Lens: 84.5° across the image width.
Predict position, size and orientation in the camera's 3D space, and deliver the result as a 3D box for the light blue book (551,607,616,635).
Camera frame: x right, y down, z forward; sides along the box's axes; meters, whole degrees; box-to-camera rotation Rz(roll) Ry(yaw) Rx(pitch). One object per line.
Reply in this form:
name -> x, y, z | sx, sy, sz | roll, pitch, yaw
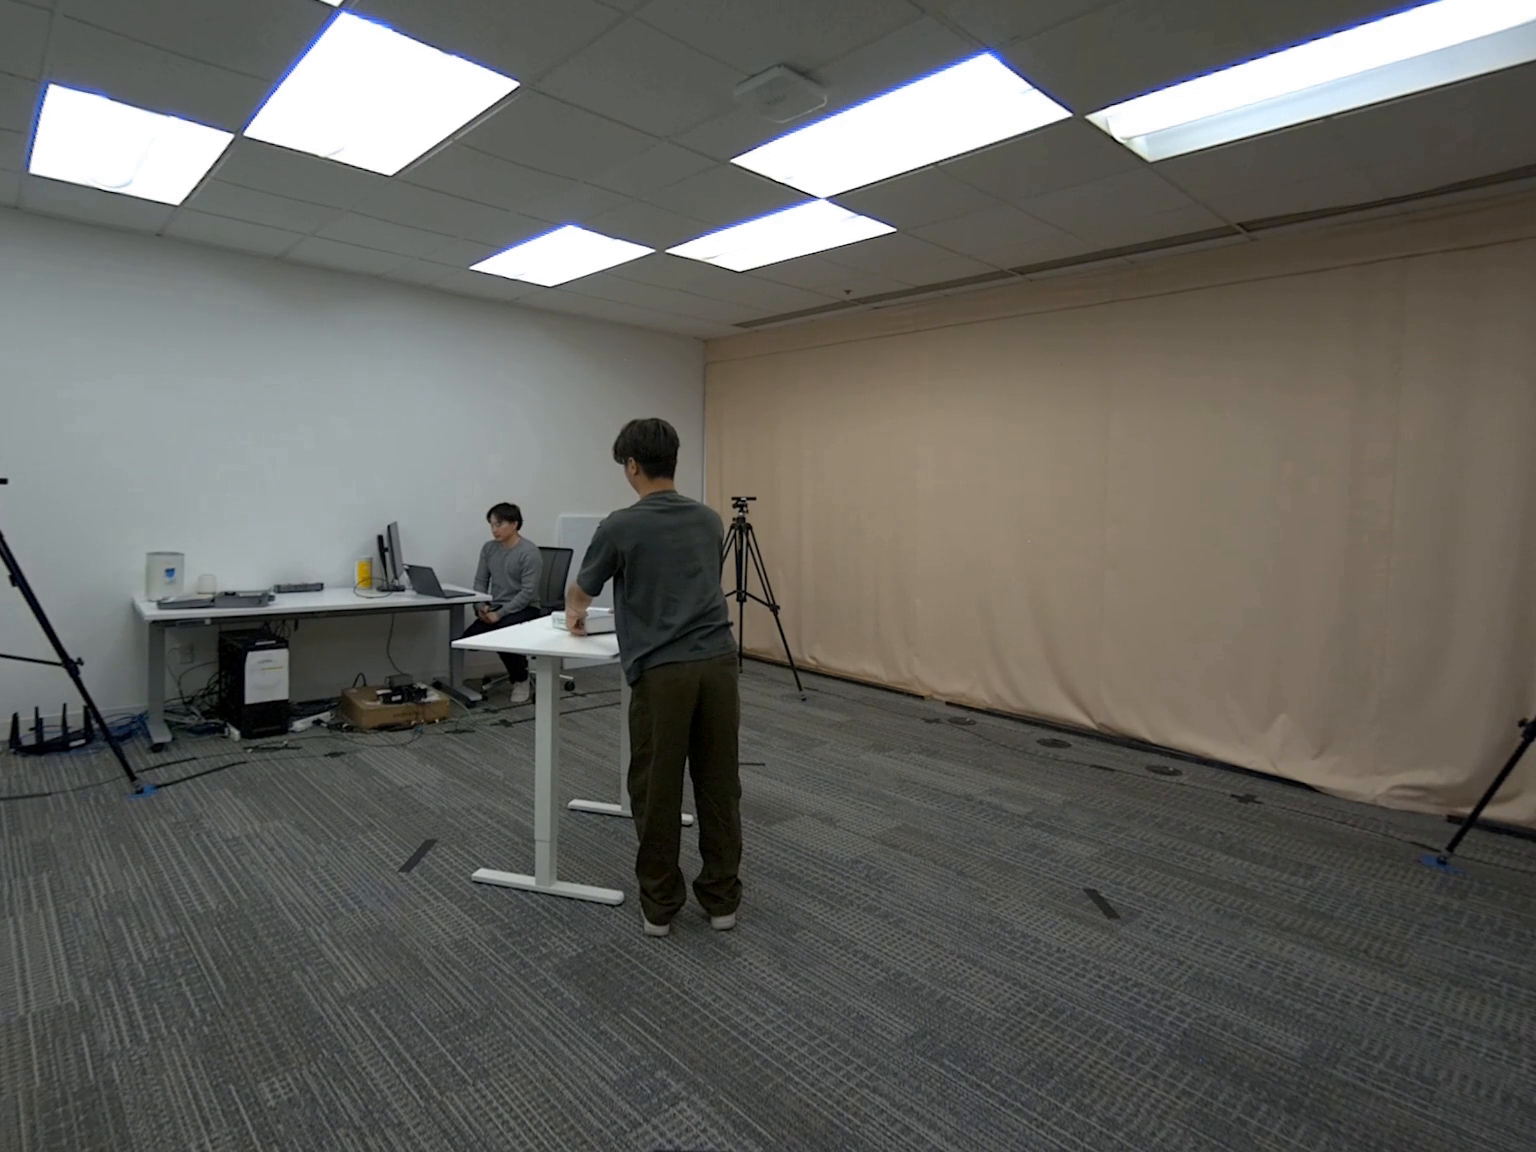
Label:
light blue book -> -0.695, 0.172, 3.208 | 0.187, 0.059, 0.267 | -4, 6, -40
